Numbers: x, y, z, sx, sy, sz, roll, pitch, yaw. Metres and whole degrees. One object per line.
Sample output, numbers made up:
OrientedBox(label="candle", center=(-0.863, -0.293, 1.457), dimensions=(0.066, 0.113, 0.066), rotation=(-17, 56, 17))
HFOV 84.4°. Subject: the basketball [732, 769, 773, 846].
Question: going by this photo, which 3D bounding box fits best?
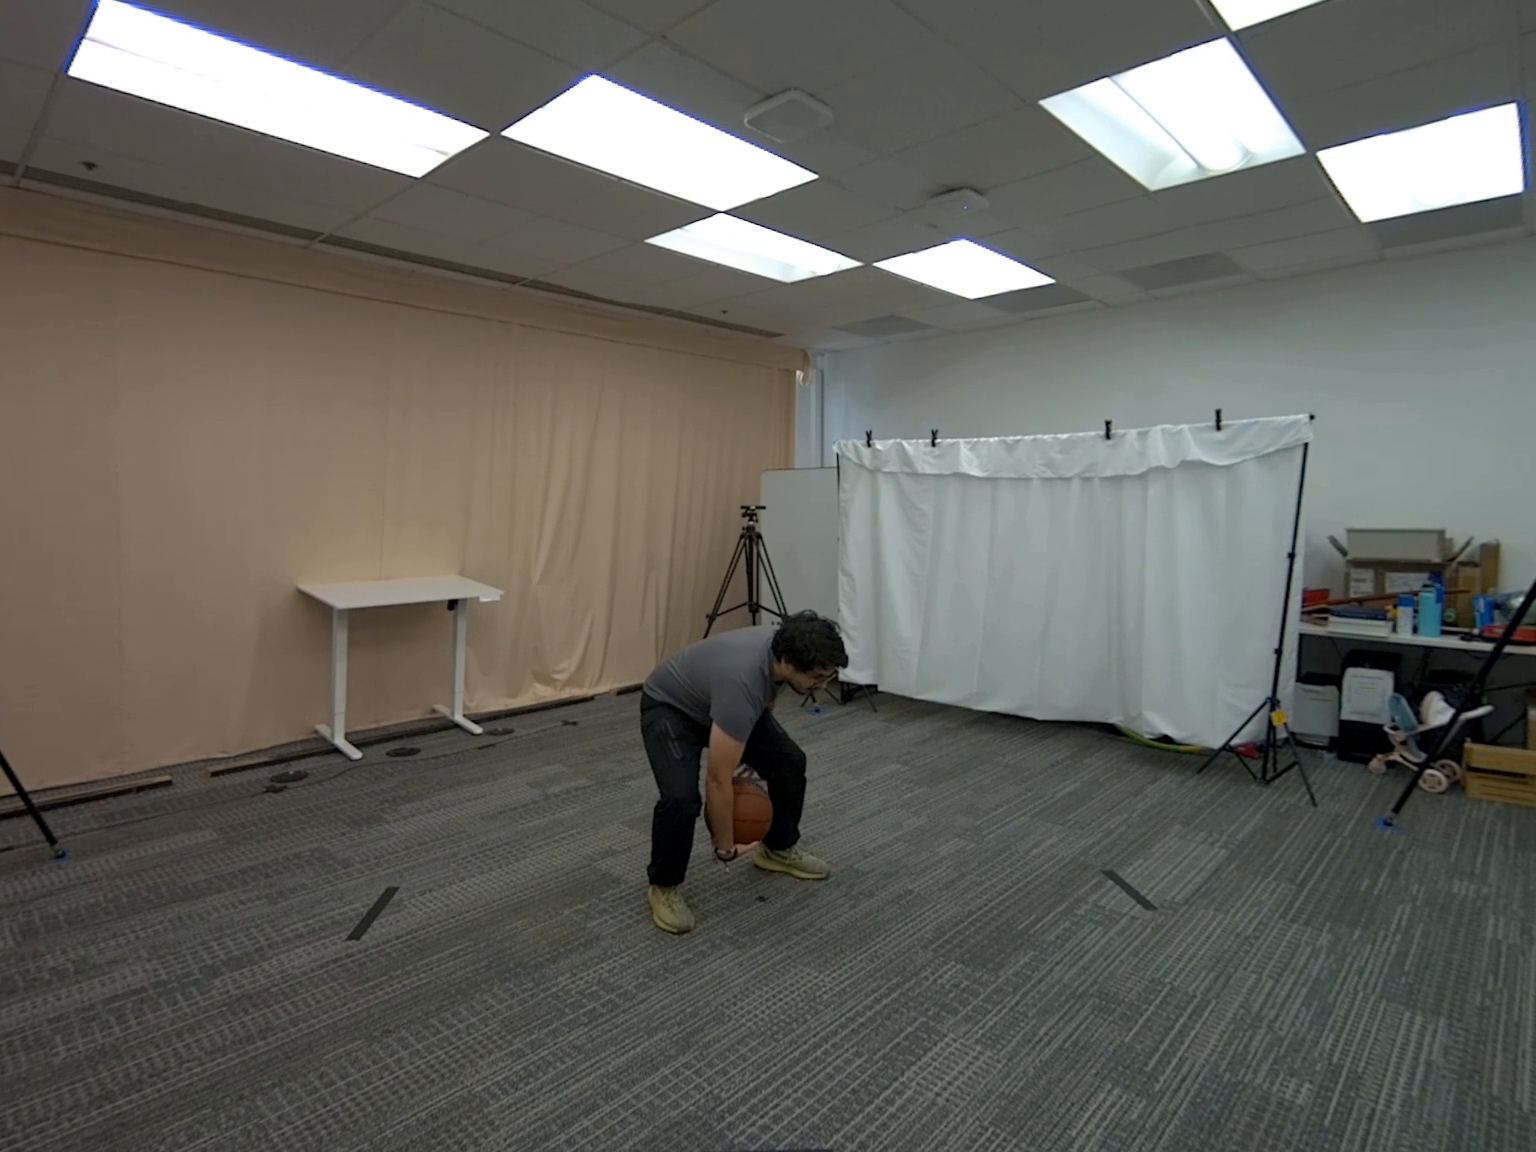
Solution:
OrientedBox(label="basketball", center=(-0.099, 0.812, 2.905), dimensions=(0.236, 0.235, 0.237), rotation=(0, 4, -2))
